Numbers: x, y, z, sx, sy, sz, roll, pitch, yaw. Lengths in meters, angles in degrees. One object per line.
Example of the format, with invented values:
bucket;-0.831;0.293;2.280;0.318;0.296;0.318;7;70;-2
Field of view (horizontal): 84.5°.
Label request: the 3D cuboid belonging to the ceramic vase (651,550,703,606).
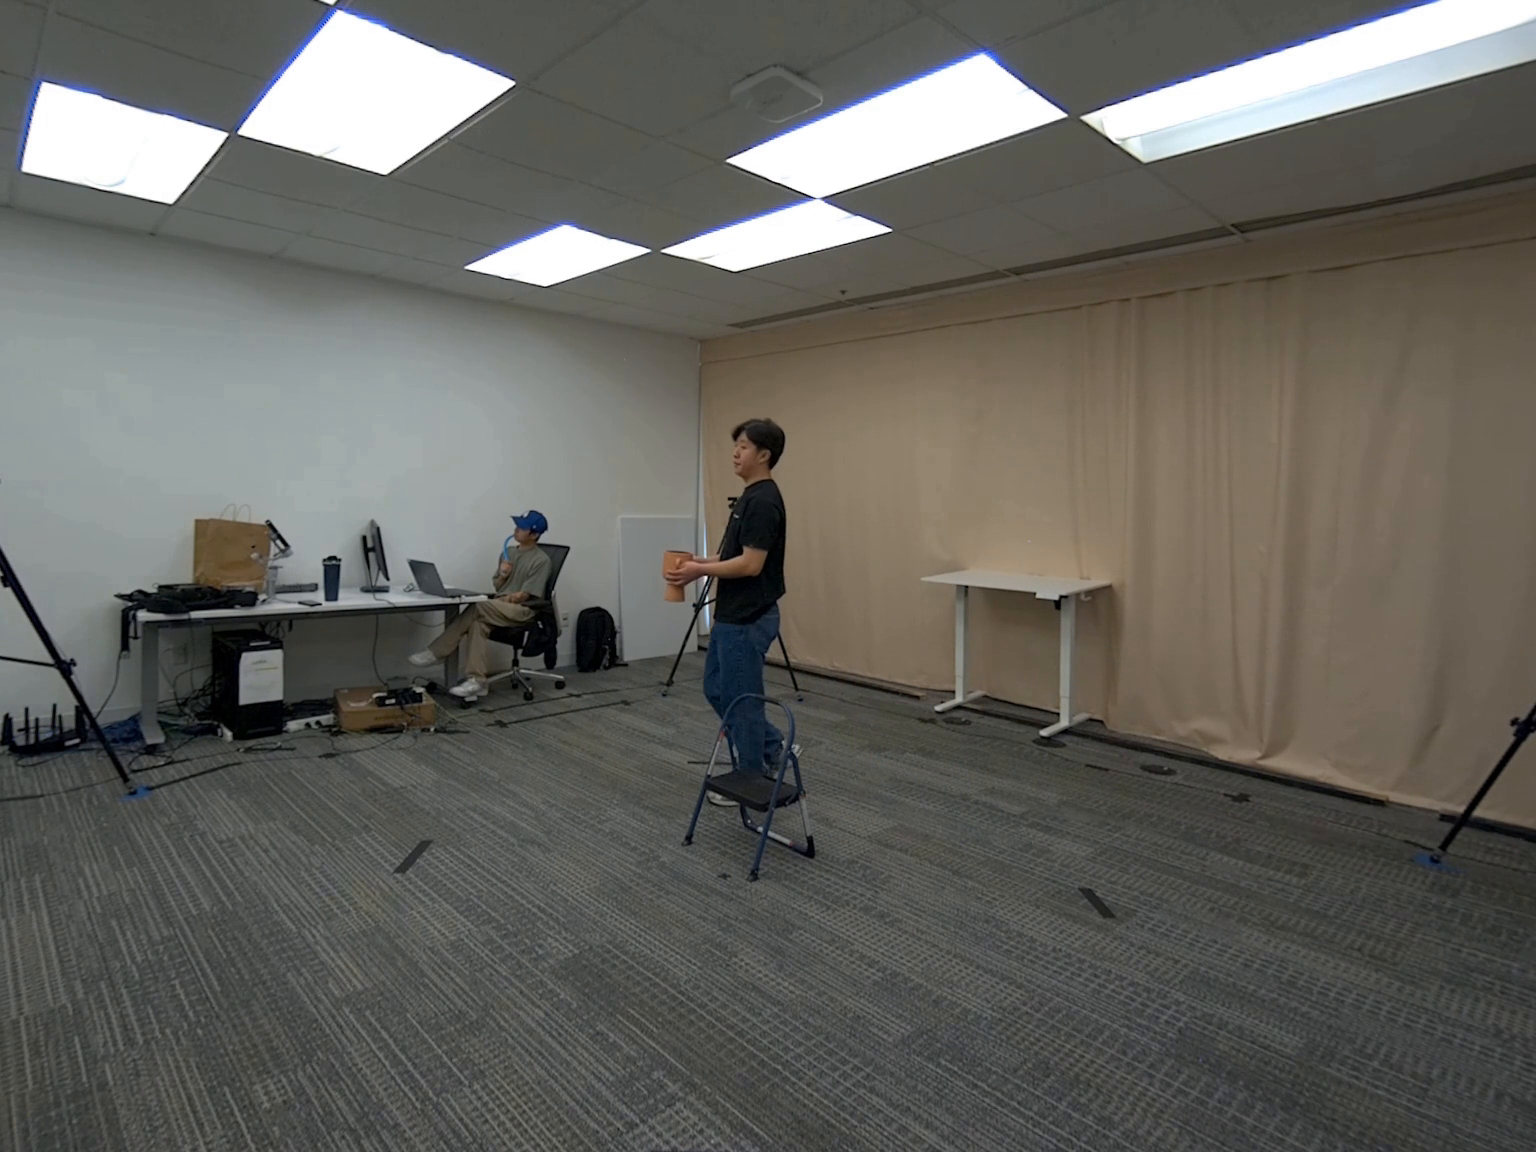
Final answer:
ceramic vase;-0.409;0.003;3.784;0.138;0.219;0.155;10;8;33
